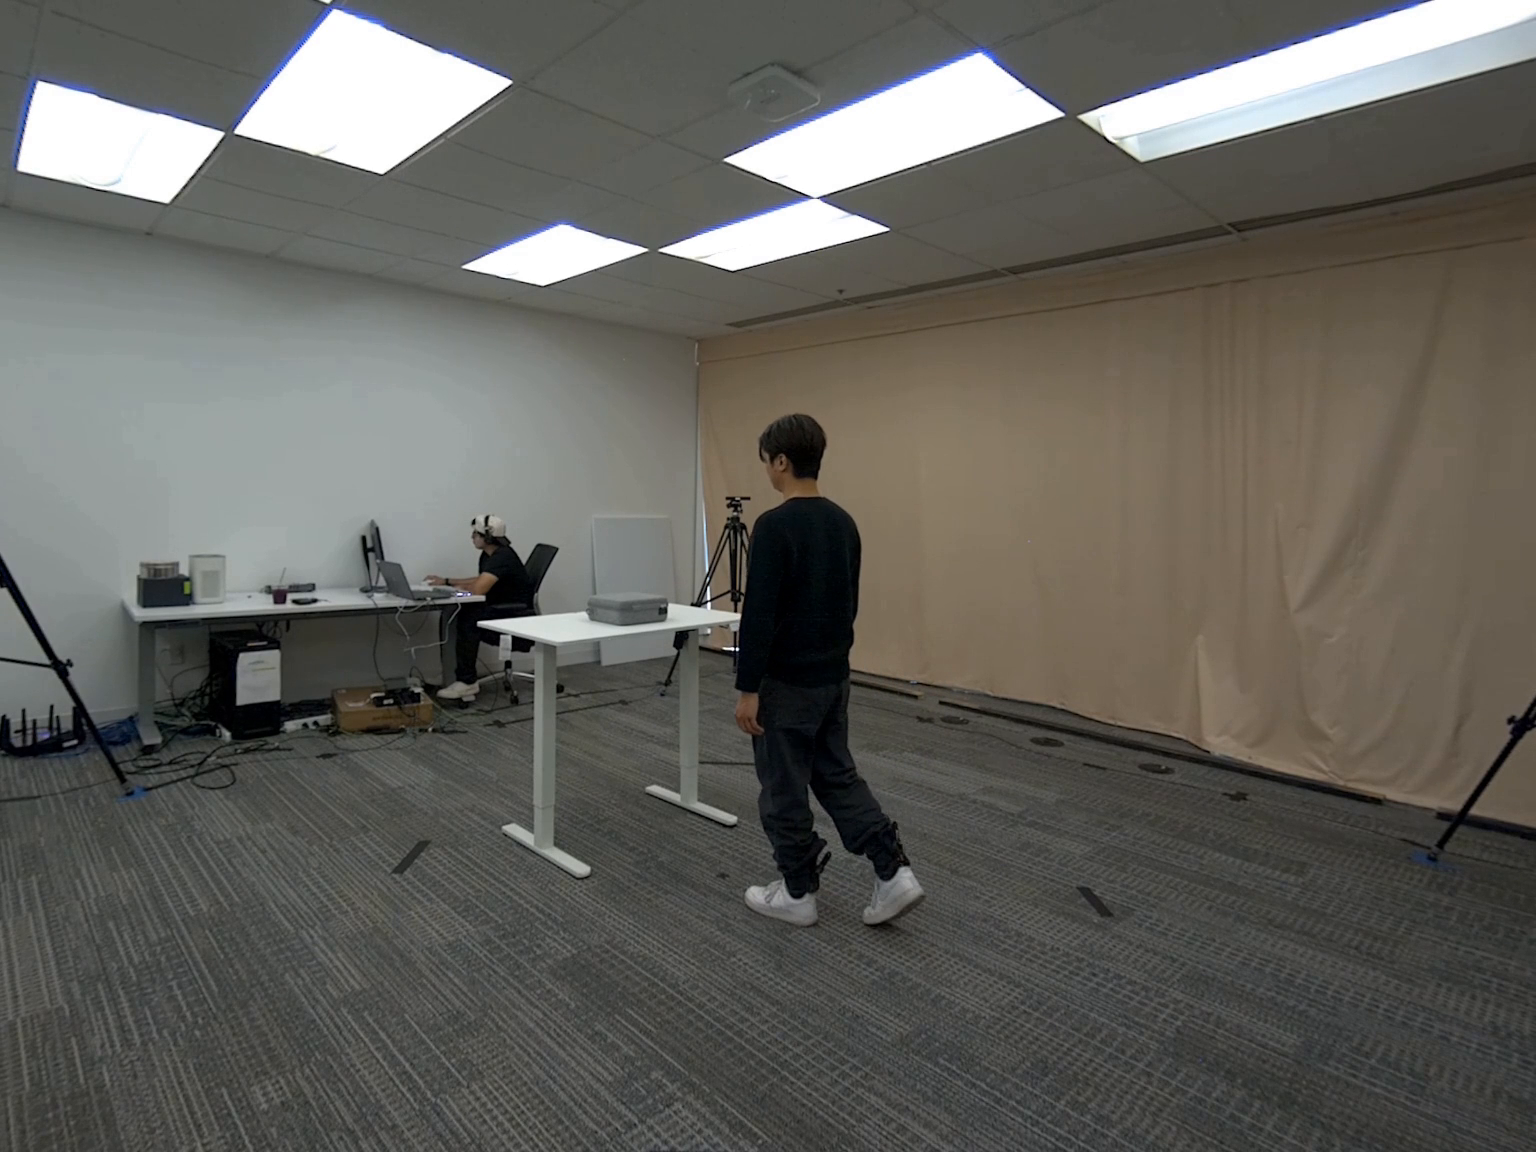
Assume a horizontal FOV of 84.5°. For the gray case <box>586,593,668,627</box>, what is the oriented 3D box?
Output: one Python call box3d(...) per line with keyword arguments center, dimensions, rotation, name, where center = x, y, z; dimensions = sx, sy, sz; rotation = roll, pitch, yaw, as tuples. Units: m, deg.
box3d(center=(-0.589, 0.132, 3.454), dimensions=(0.267, 0.104, 0.251), rotation=(4, 7, 45), name="gray case")
